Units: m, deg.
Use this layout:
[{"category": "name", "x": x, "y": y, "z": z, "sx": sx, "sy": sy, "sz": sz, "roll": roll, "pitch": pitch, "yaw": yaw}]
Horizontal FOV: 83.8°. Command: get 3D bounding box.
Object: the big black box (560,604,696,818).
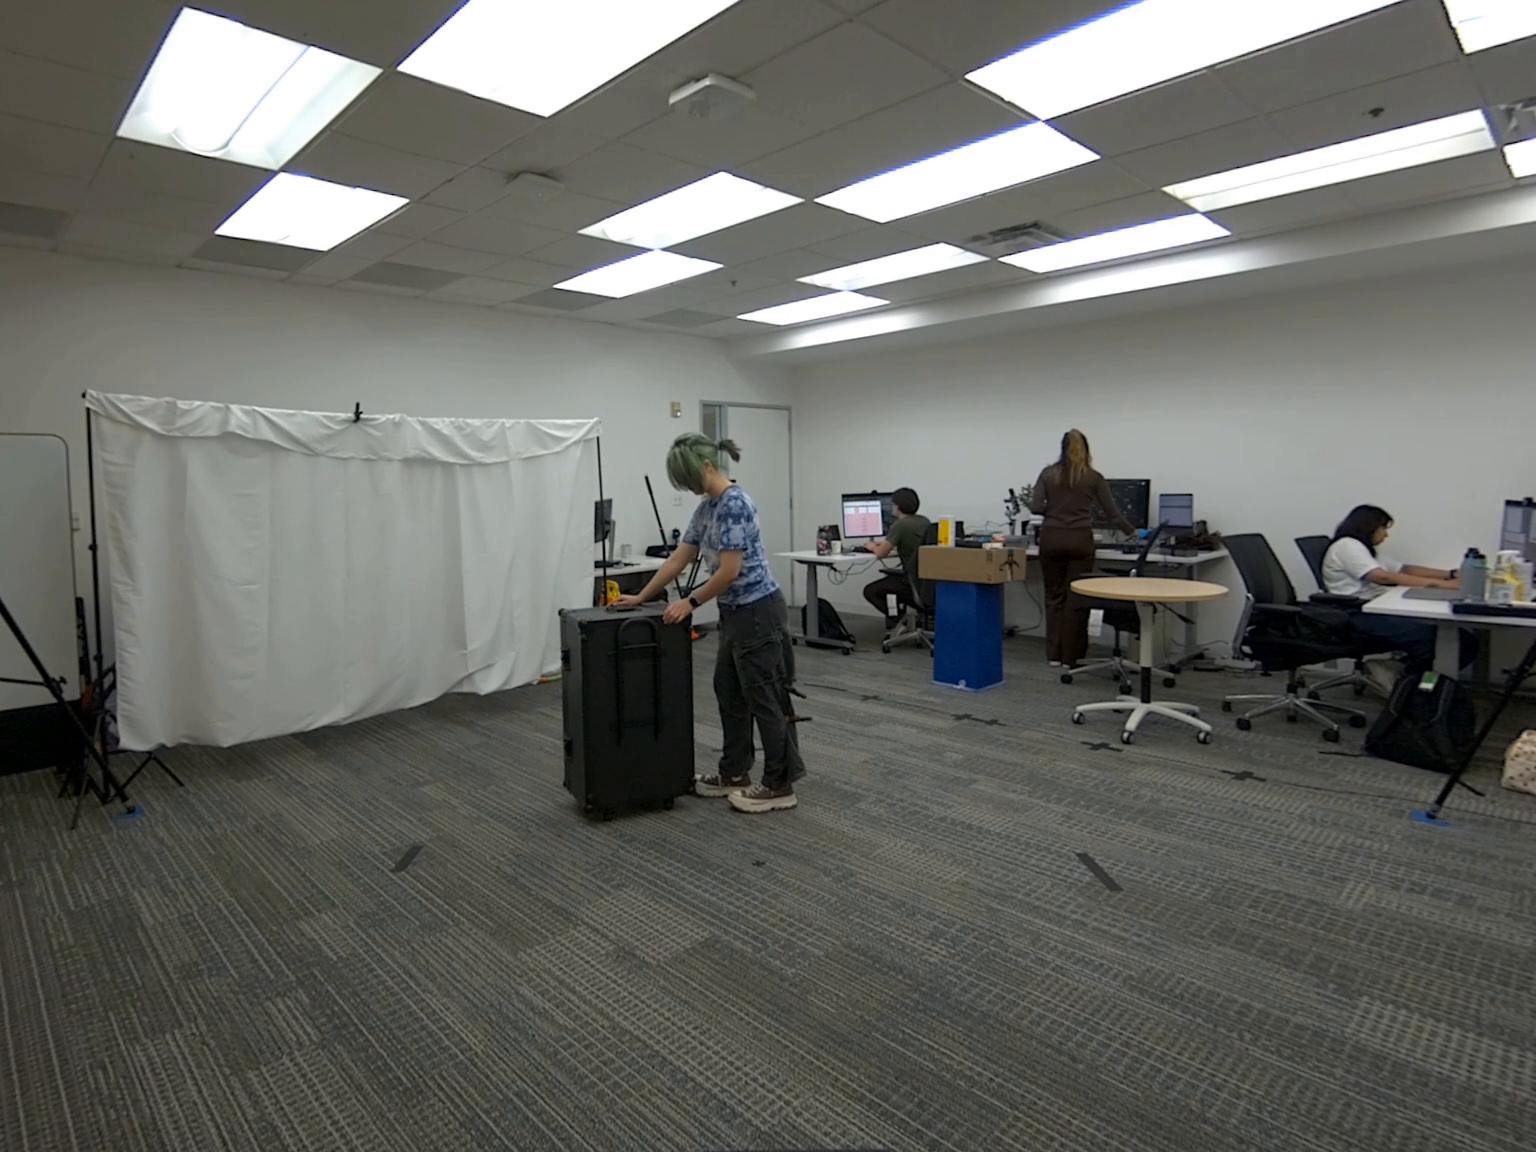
[{"category": "big black box", "x": -0.603, "y": 0.576, "z": 3.662, "sx": 0.510, "sy": 0.858, "sz": 0.406, "roll": -3, "pitch": 5, "yaw": -26}]
